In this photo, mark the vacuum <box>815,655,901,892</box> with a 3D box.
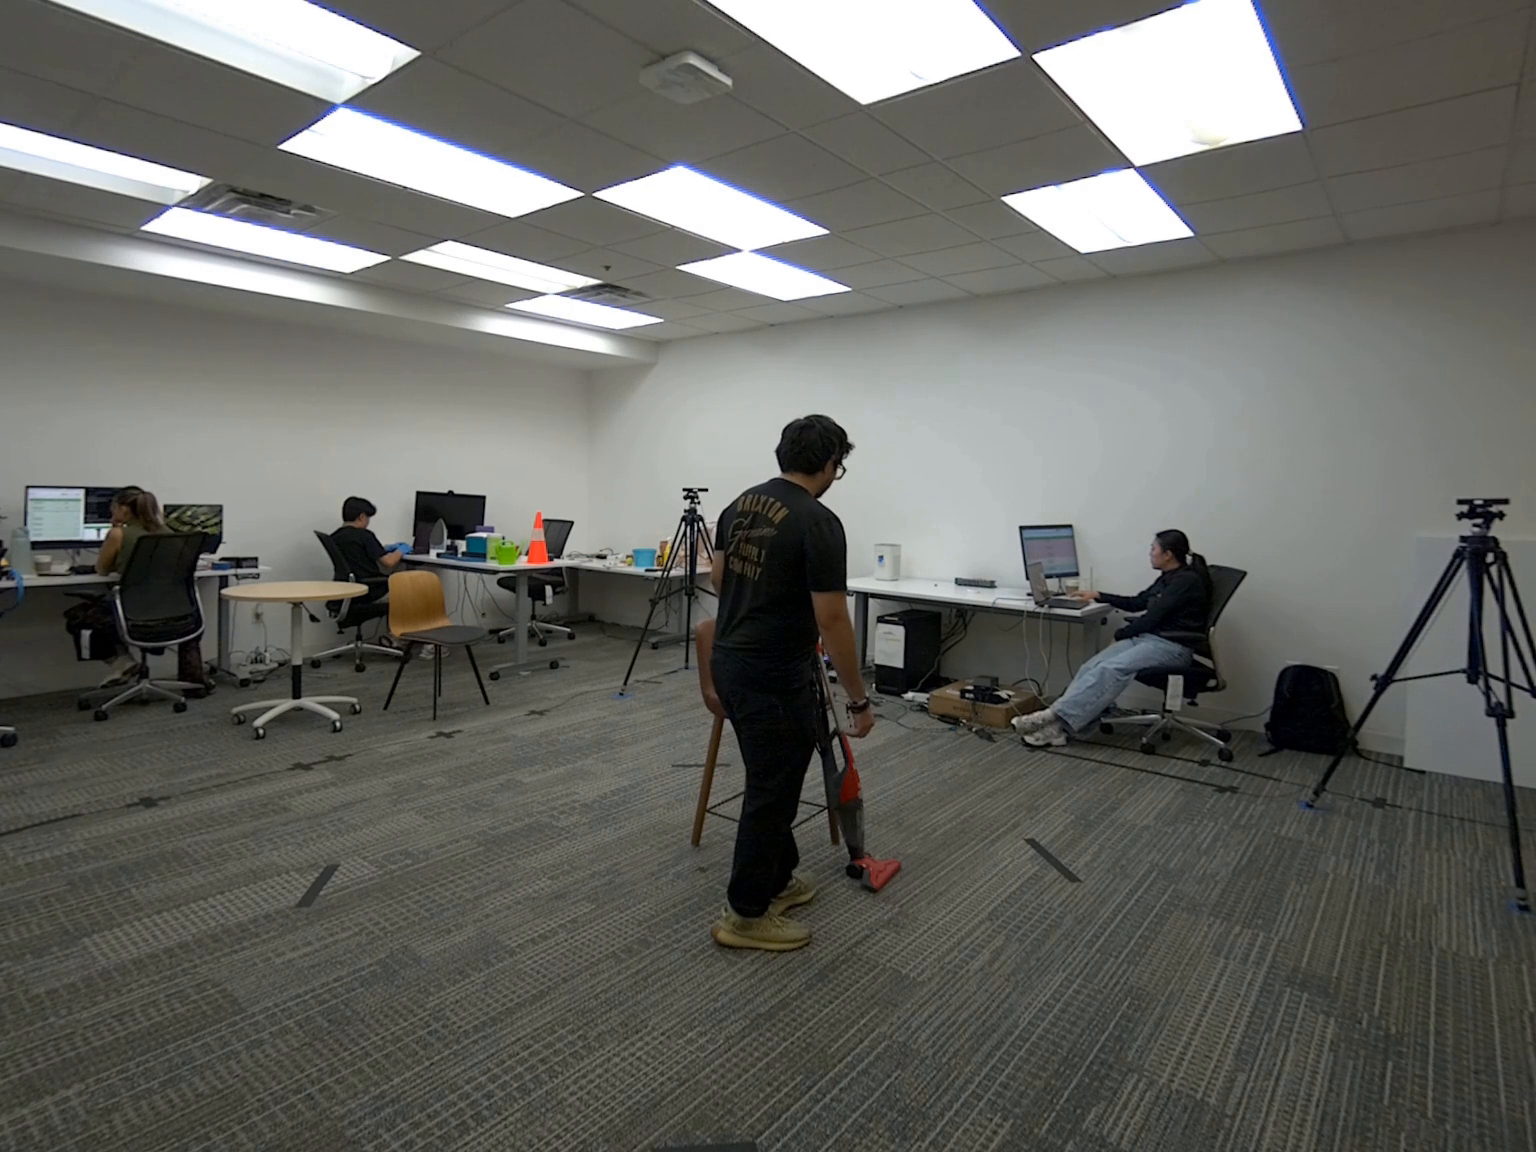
[{"bbox_3d":[0.232,0.583,3.165,0.146,1.061,0.245,-20,-10,28],"label":"vacuum"}]
